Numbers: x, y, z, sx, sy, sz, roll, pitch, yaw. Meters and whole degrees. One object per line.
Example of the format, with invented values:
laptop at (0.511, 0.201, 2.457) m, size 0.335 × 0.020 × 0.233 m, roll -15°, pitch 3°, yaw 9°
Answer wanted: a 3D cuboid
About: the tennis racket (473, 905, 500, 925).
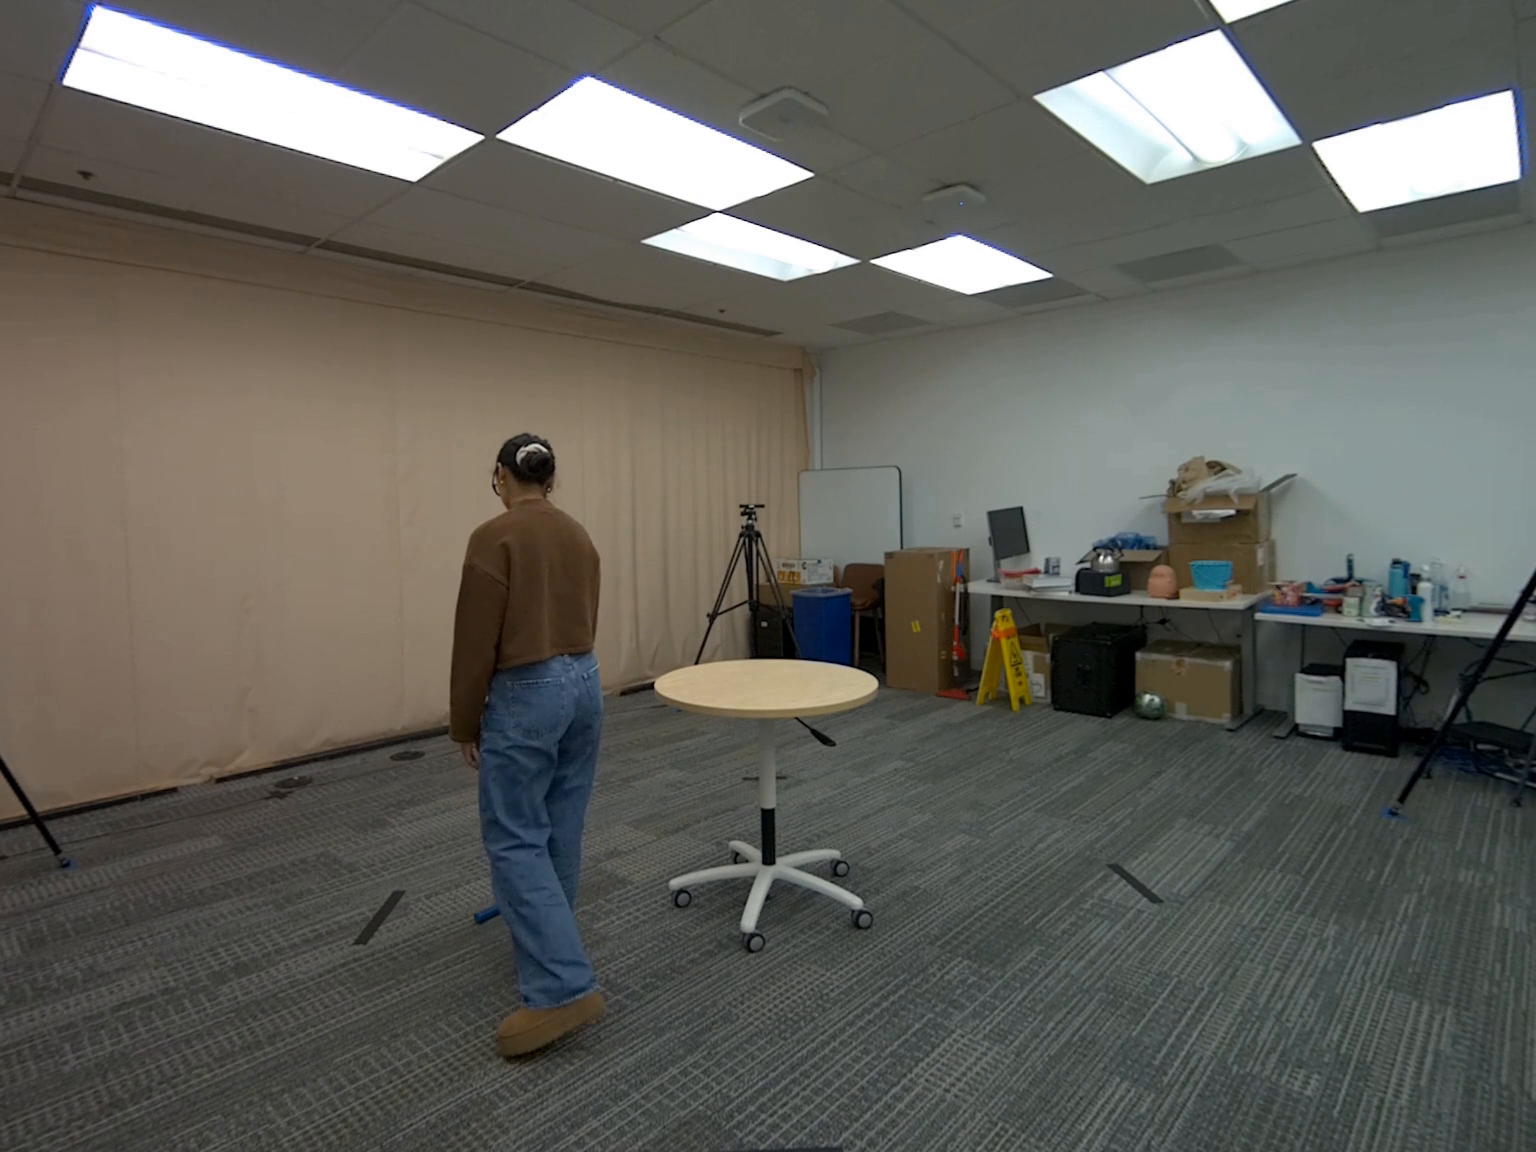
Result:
tennis racket at (-0.862, 1.139, 3.017) m, size 0.220 × 0.032 × 0.420 m, roll 2°, pitch 4°, yaw 35°
